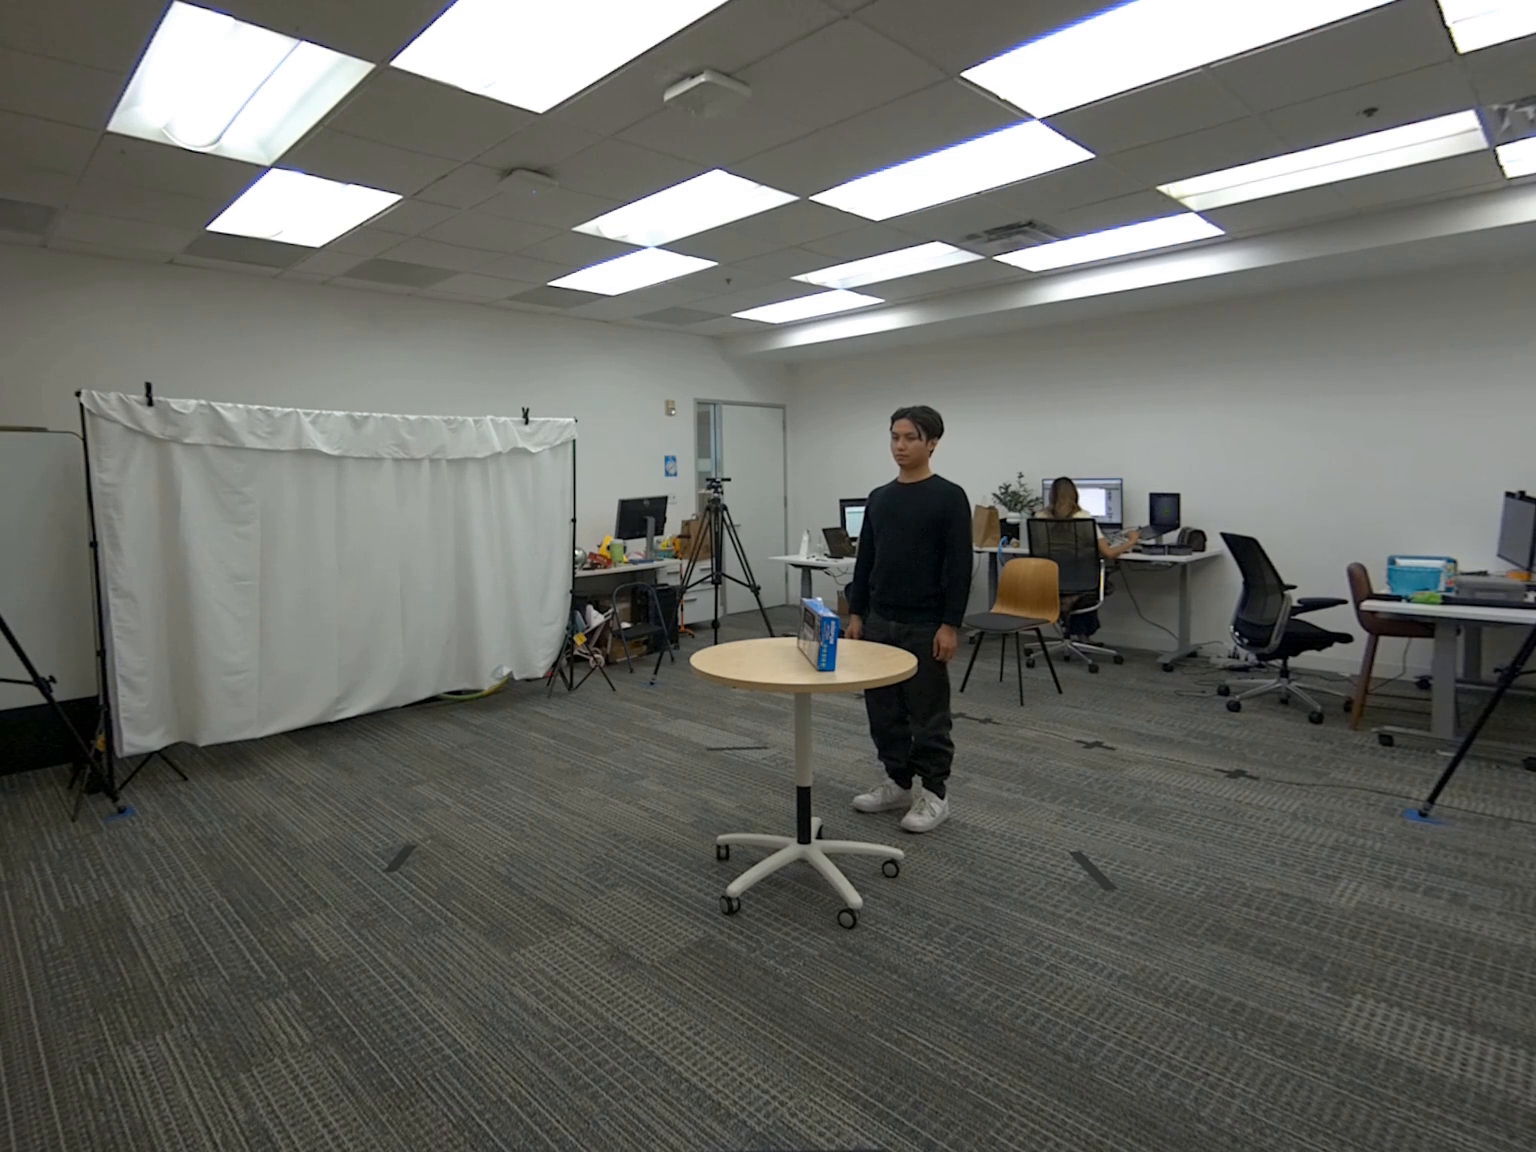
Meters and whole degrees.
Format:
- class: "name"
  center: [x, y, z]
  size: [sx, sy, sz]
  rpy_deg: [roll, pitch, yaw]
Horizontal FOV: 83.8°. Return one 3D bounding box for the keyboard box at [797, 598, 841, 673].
- class: "keyboard box"
  center: [0.168, 0.191, 2.893]
  size: [0.059, 0.175, 0.440]
  rpy_deg: [3, 5, -6]
